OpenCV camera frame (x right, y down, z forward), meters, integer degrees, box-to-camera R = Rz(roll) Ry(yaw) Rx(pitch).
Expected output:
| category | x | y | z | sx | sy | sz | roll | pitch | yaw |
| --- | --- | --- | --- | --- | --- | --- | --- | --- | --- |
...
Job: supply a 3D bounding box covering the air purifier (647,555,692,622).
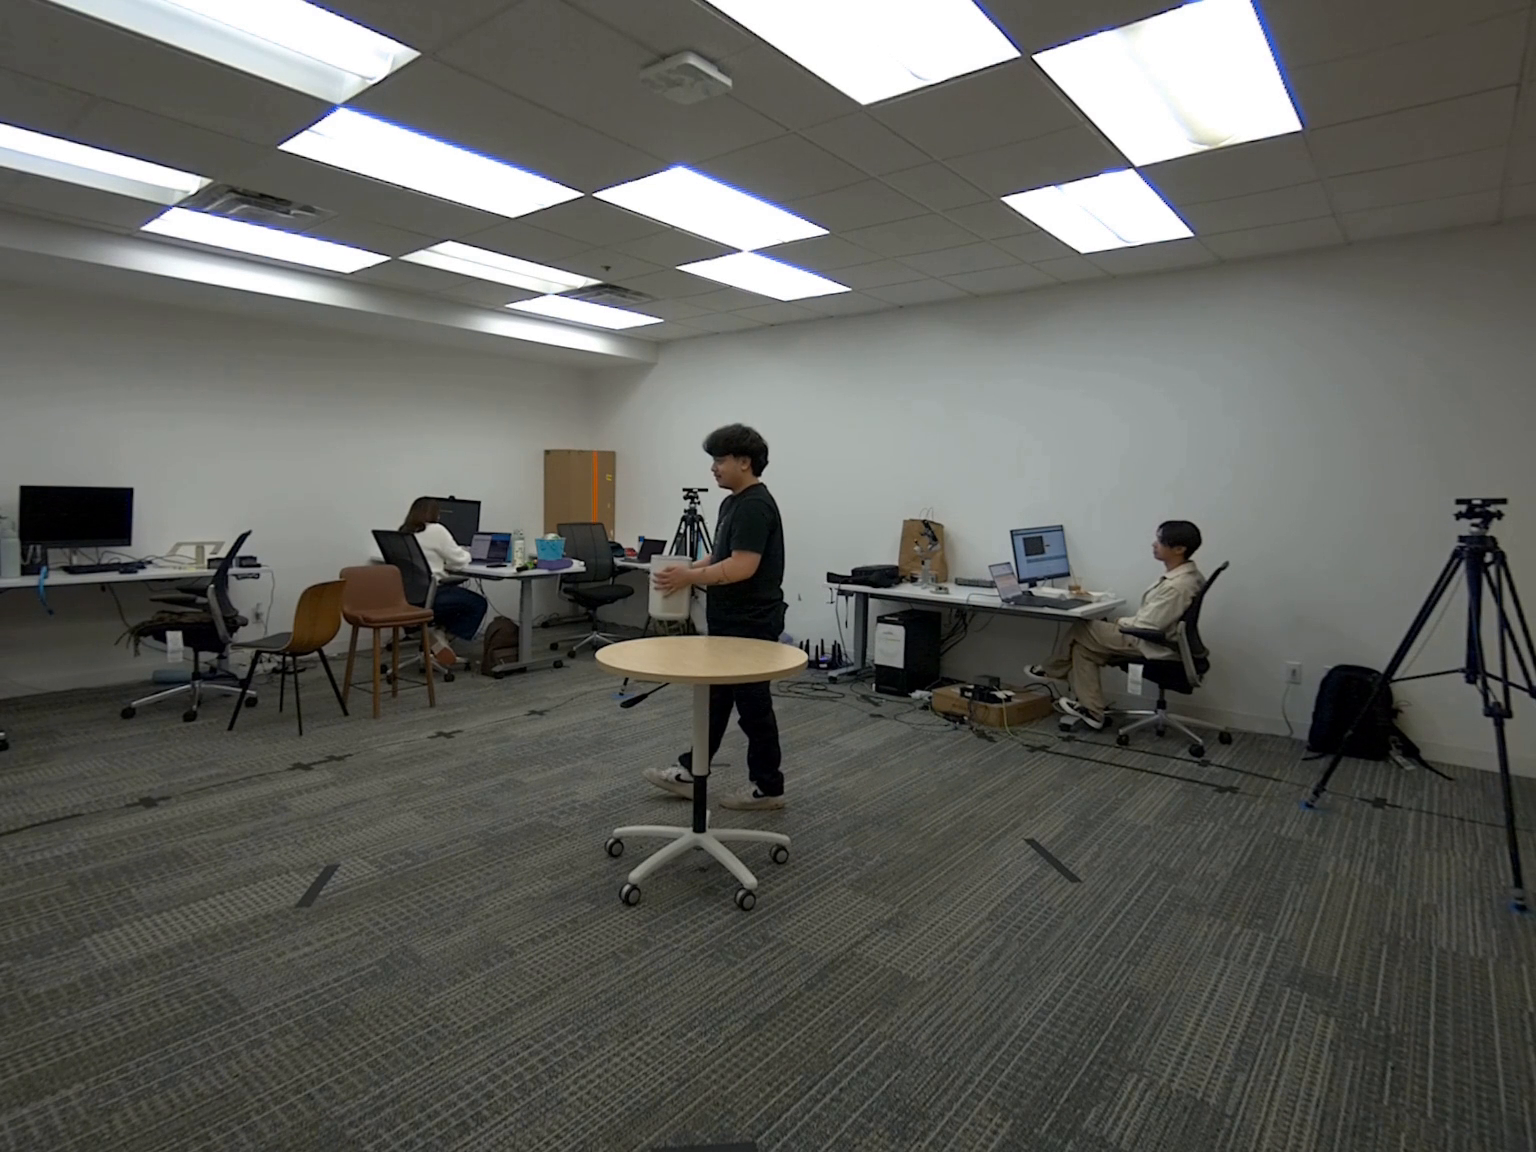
| category | x | y | z | sx | sy | sz | roll | pitch | yaw |
| --- | --- | --- | --- | --- | --- | --- | --- | --- | --- |
| air purifier | -0.433 | 0.046 | 3.678 | 0.169 | 0.264 | 0.174 | 1 | 5 | -15 |
